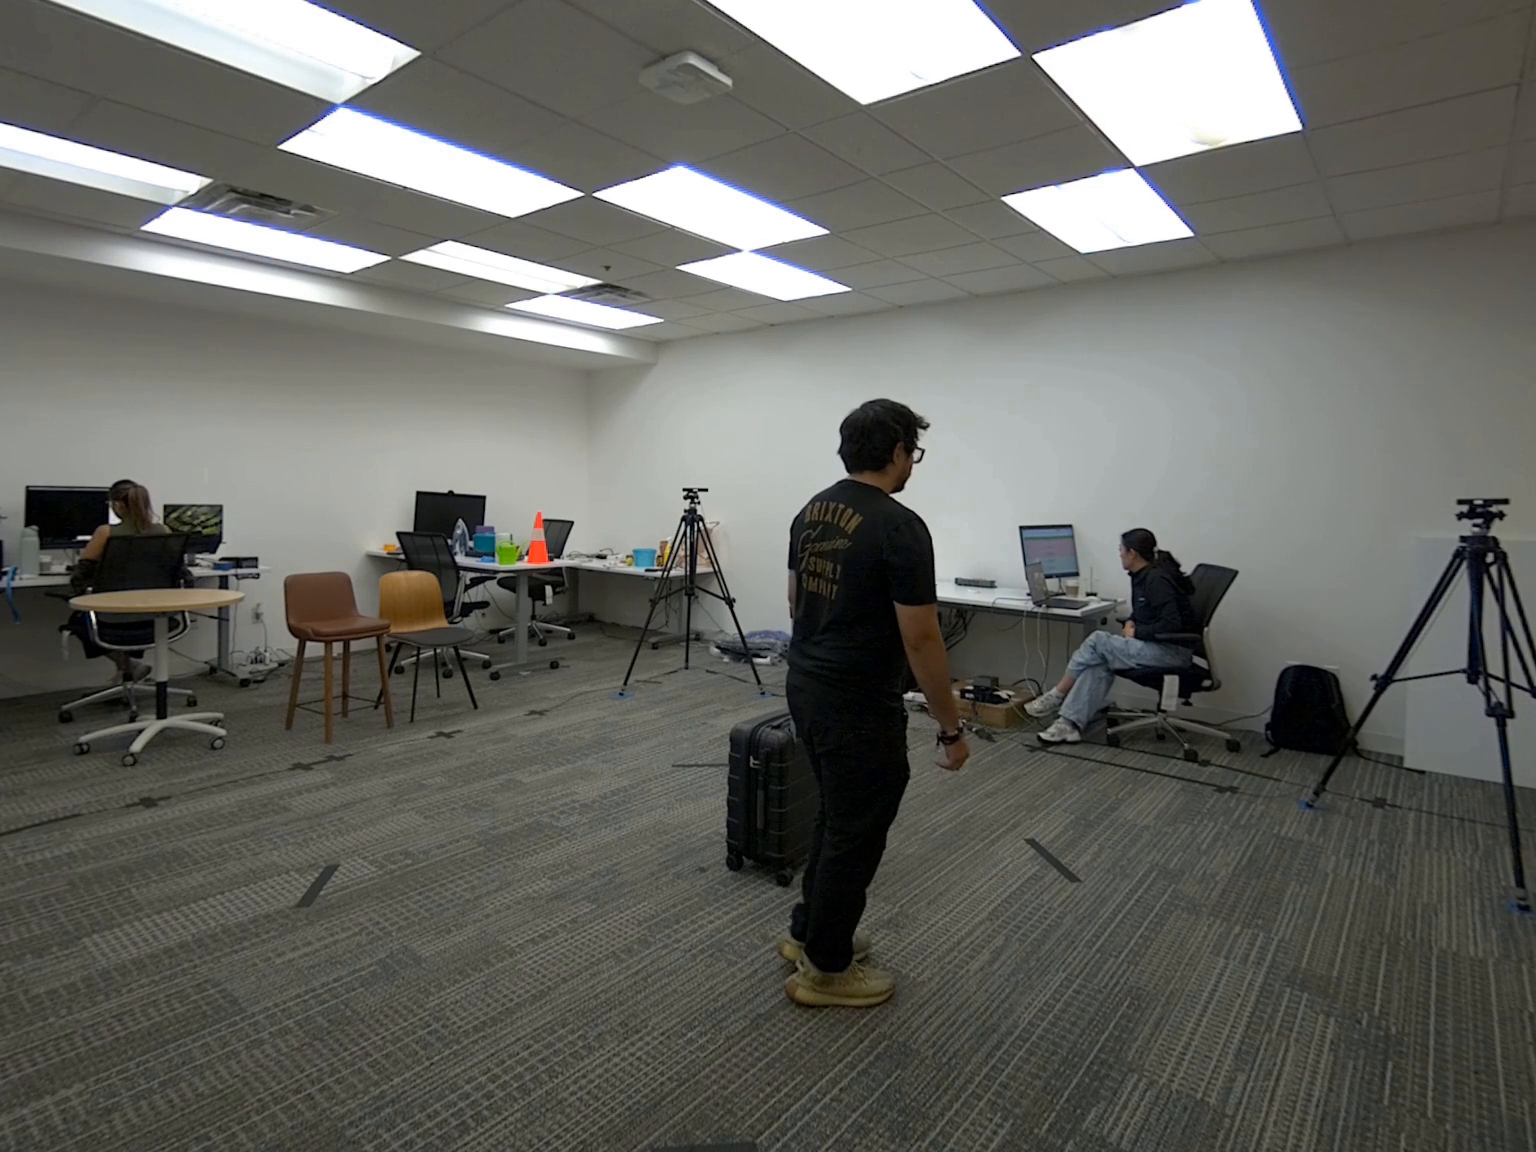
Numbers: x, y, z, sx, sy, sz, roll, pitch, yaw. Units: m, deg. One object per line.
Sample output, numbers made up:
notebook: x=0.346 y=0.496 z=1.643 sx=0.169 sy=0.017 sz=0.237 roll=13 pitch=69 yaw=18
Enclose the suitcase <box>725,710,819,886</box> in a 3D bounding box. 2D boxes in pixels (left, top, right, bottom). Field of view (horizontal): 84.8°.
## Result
suitcase: x=0.021 y=0.592 z=3.172 sx=0.265 sy=0.978 sz=0.373 roll=0 pitch=1 yaw=33
